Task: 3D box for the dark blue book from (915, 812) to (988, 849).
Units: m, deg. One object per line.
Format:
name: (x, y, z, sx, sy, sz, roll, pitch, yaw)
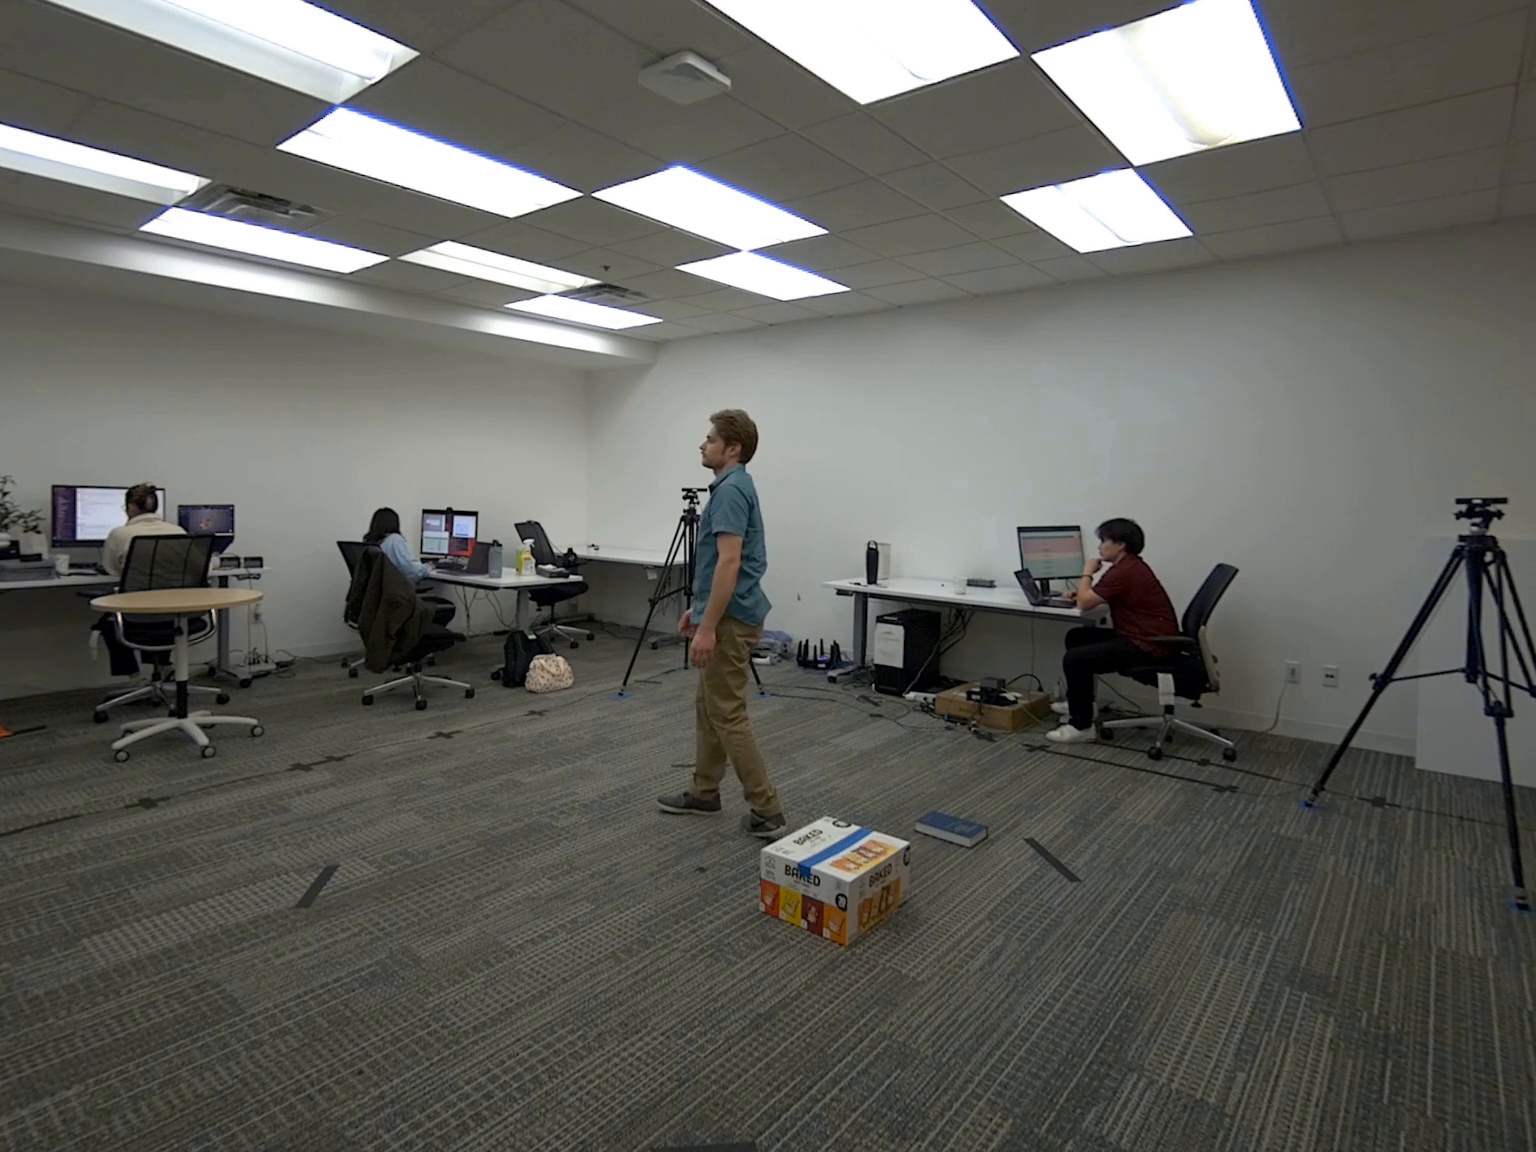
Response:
dark blue book: (0.741, 1.029, 3.487, 0.253, 0.045, 0.159, 7, 8, 39)
